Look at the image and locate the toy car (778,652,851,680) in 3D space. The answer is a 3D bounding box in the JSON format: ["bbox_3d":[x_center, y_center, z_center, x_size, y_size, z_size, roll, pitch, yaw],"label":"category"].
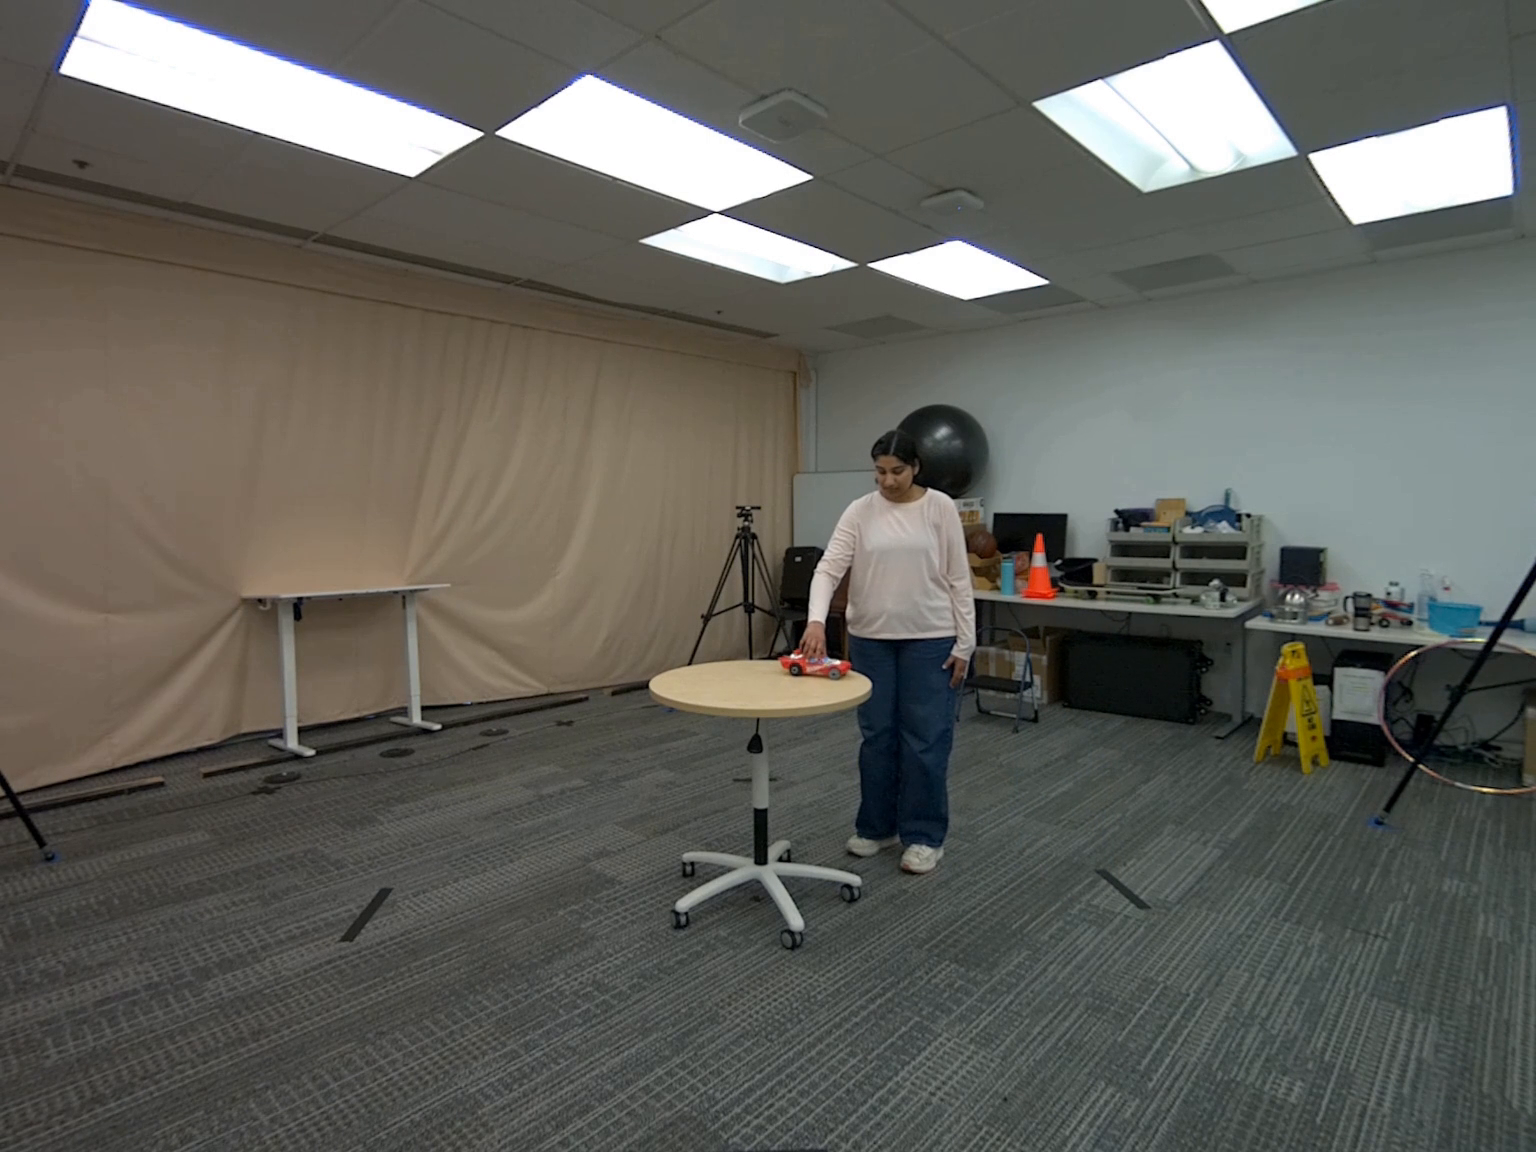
[{"bbox_3d":[0.164,0.324,3.017,0.261,0.083,0.127,13,10,23],"label":"toy car"}]
